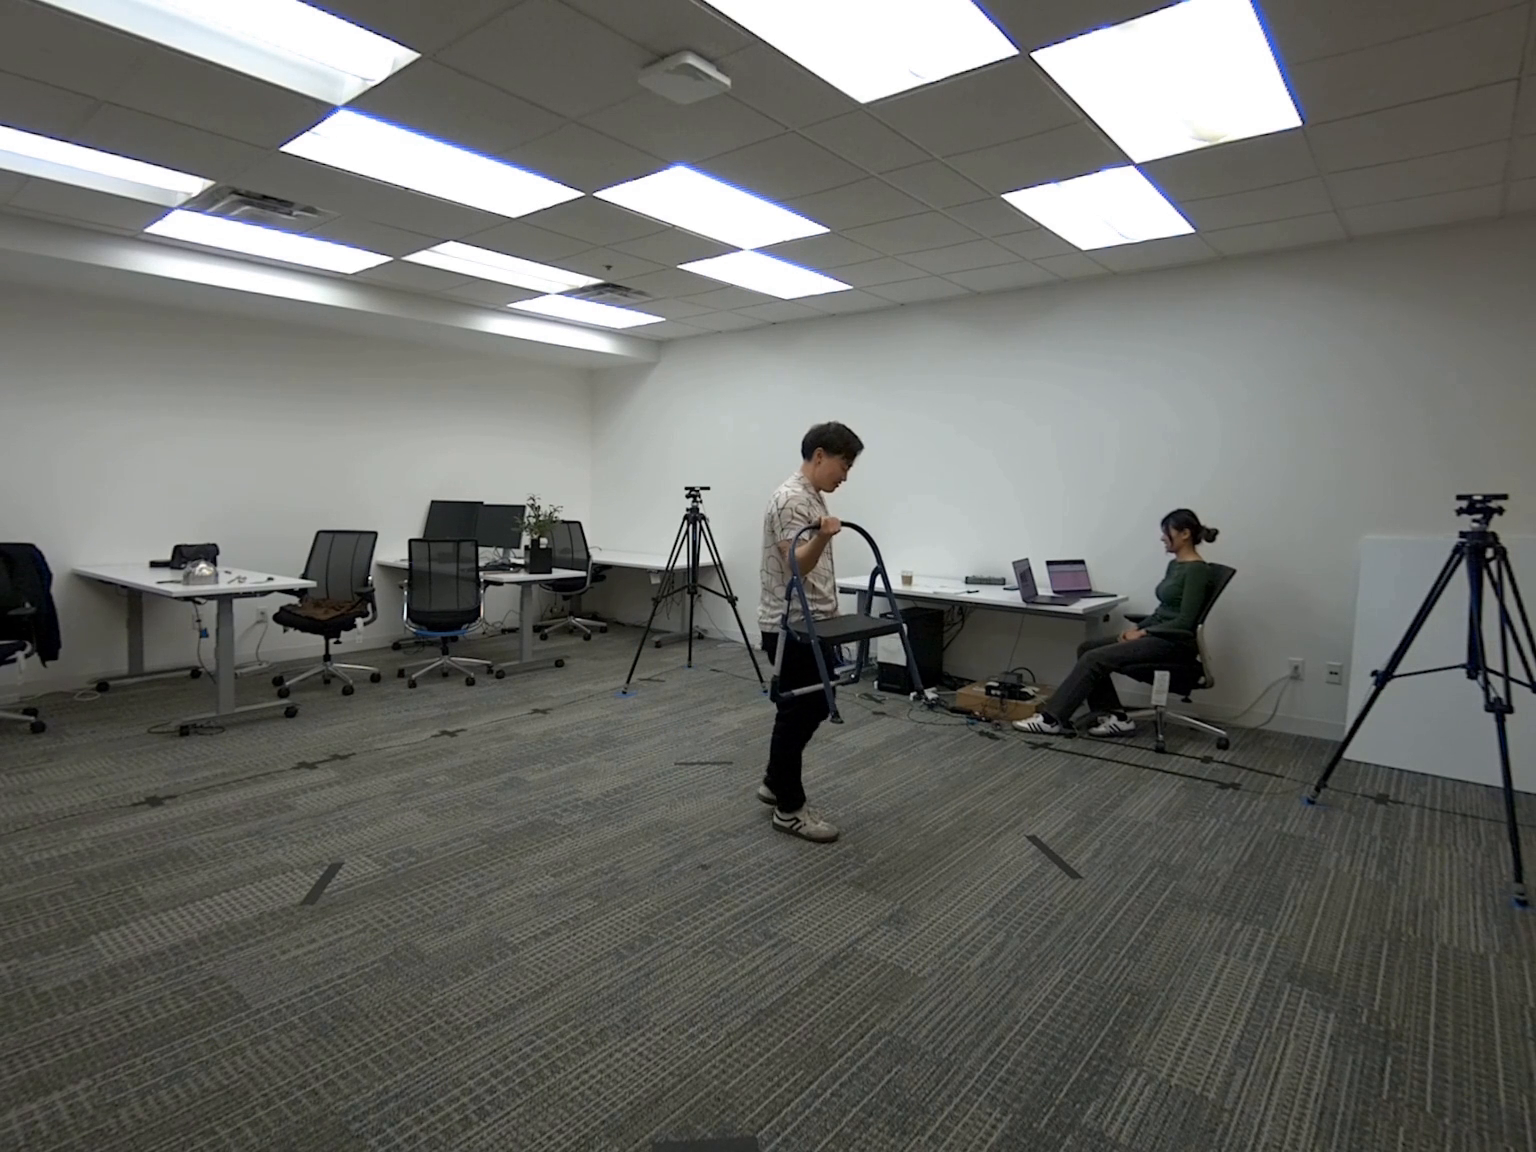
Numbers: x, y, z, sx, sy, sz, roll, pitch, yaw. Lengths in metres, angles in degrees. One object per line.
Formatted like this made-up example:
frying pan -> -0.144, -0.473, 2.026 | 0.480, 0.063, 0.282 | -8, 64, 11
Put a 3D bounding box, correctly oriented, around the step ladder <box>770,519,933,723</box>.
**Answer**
step ladder -> 0.249, 0.122, 2.878 | 0.418, 0.604, 0.360 | -5, 5, -38
